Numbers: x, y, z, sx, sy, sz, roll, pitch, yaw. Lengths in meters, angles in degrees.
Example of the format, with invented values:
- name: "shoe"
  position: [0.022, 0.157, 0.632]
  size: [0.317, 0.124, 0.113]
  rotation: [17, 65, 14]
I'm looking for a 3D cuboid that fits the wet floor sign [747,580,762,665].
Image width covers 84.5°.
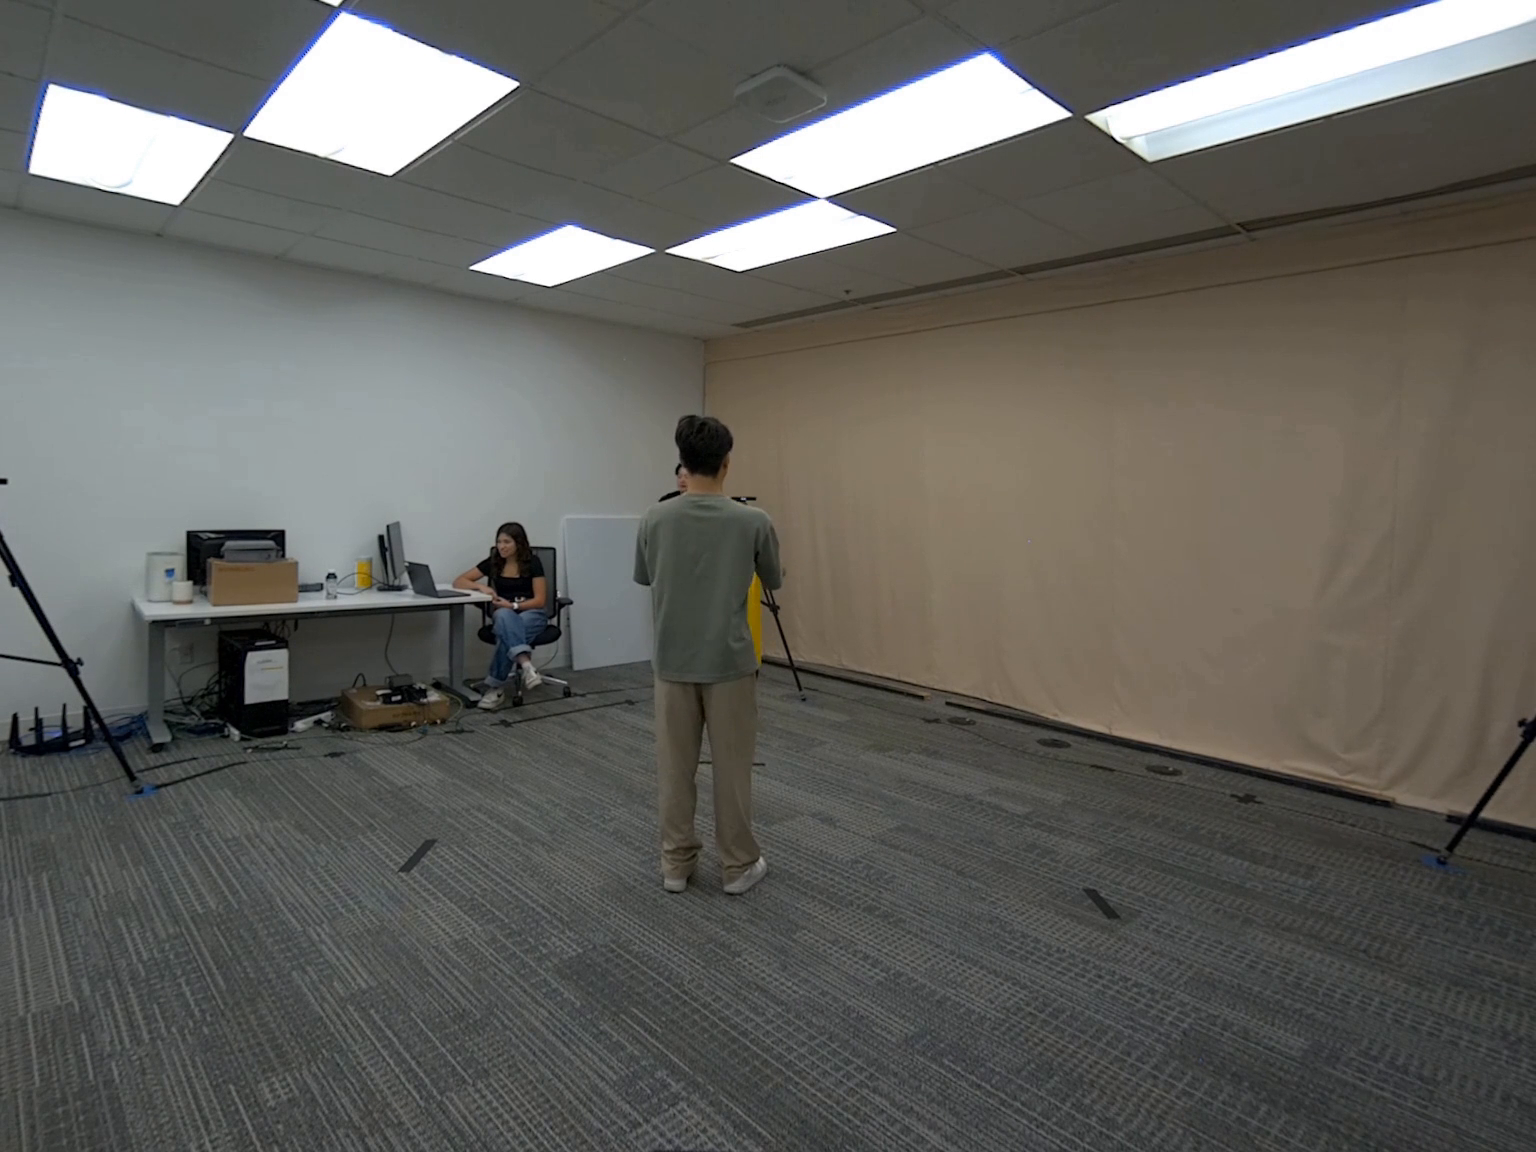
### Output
- name: "wet floor sign"
  position: [-0.173, 0.047, 3.430]
  size: [0.285, 0.647, 0.286]
  rotation: [4, -3, 10]
